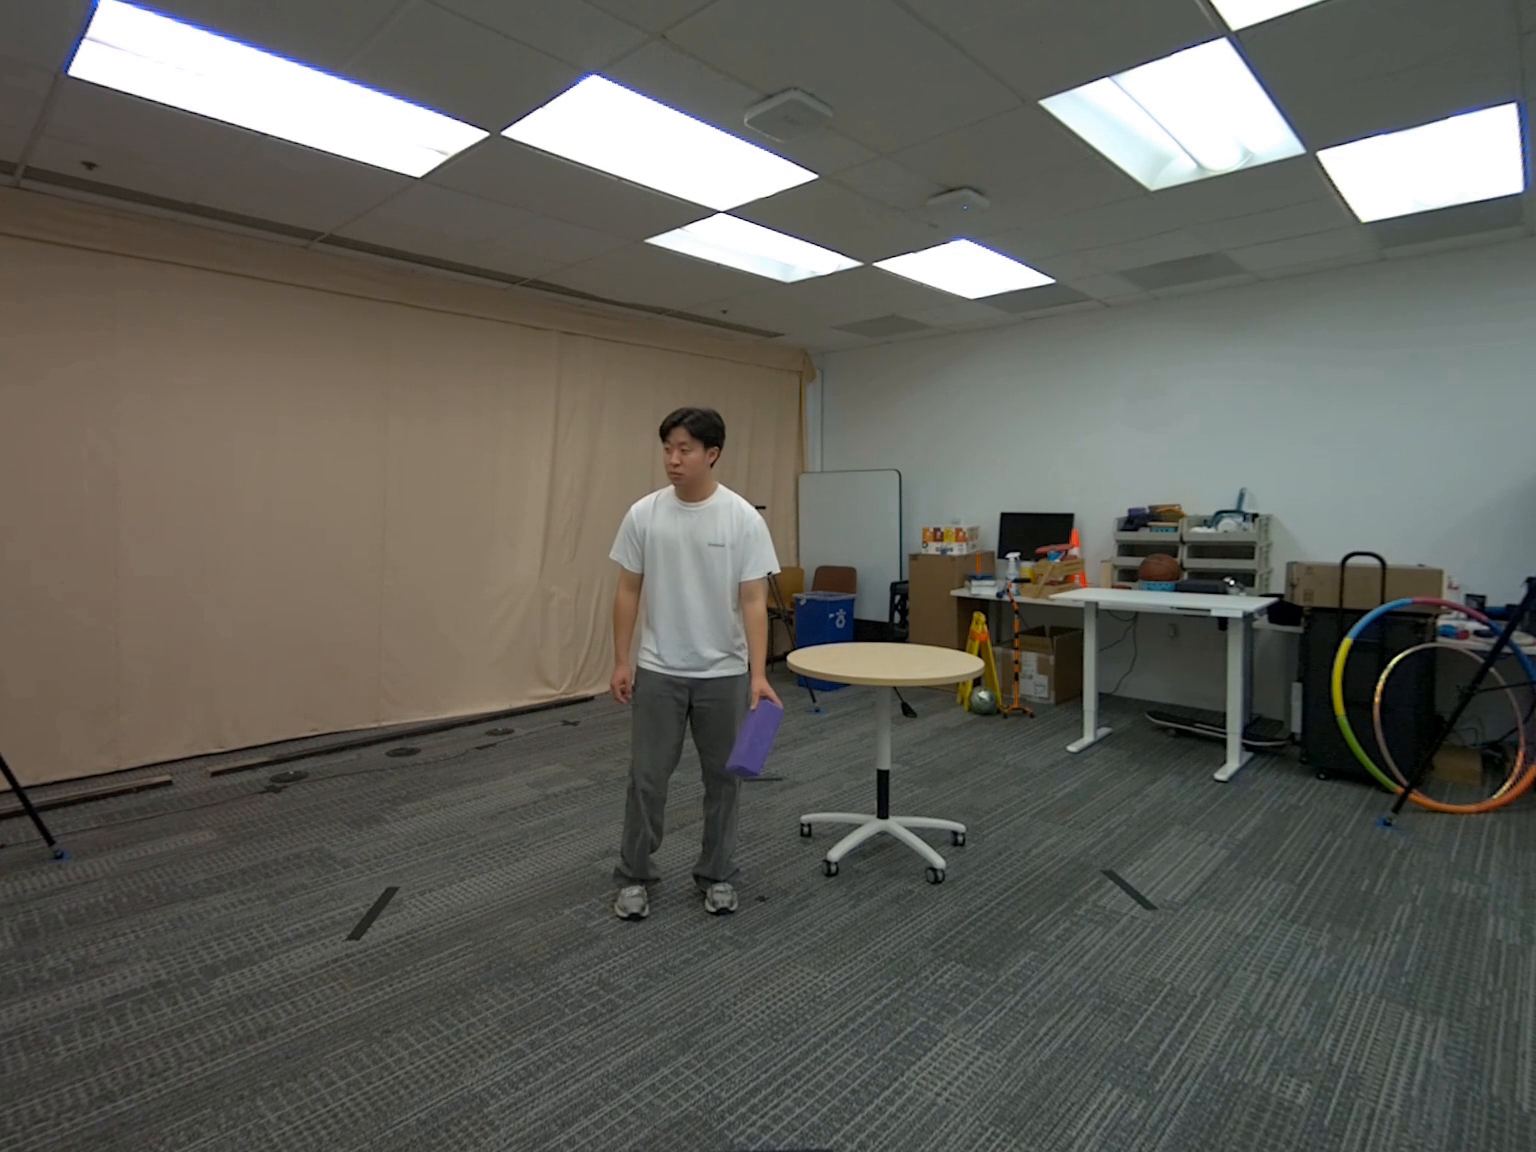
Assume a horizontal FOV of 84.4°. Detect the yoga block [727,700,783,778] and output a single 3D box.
[{"bbox_3d":[-0.040,0.522,2.670,0.076,0.230,0.149,25,-21,-7],"label":"yoga block"}]
